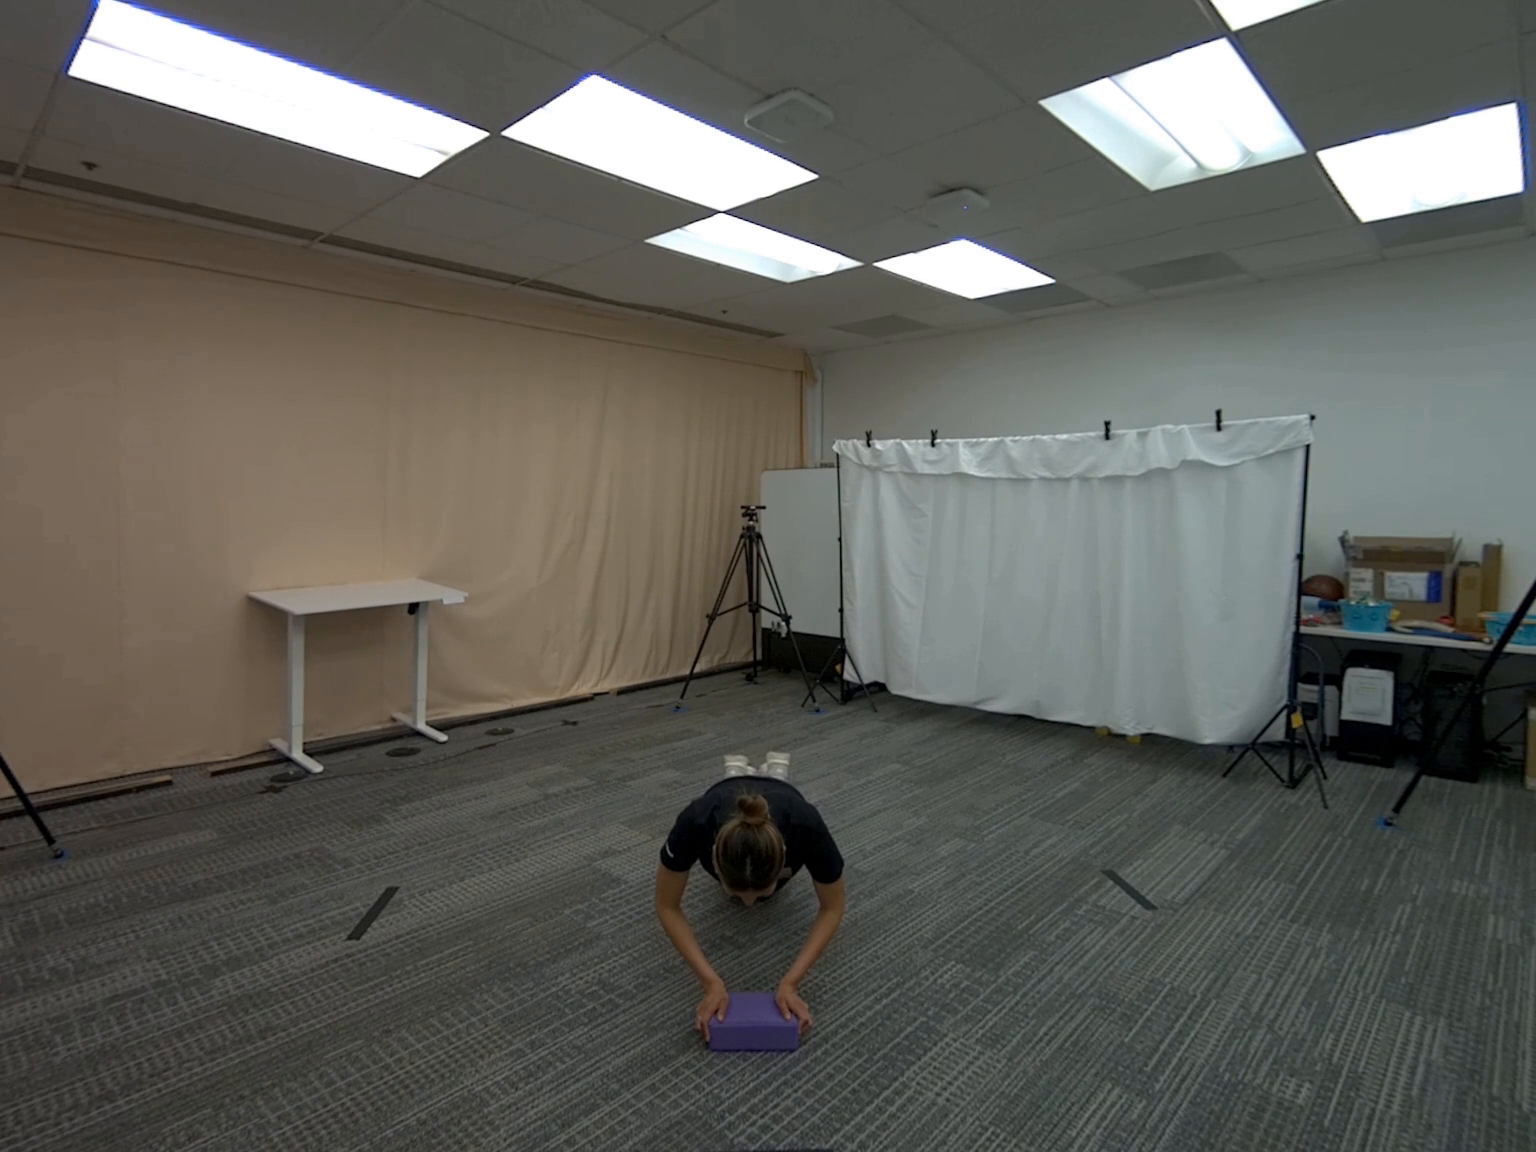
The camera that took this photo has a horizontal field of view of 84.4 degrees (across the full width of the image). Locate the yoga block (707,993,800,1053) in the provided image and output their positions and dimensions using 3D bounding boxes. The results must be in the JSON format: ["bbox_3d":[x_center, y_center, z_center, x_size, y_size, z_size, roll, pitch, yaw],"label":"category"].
[{"bbox_3d":[-0.045,1.167,2.220,0.229,0.076,0.149,-2,4,-2],"label":"yoga block"}]
